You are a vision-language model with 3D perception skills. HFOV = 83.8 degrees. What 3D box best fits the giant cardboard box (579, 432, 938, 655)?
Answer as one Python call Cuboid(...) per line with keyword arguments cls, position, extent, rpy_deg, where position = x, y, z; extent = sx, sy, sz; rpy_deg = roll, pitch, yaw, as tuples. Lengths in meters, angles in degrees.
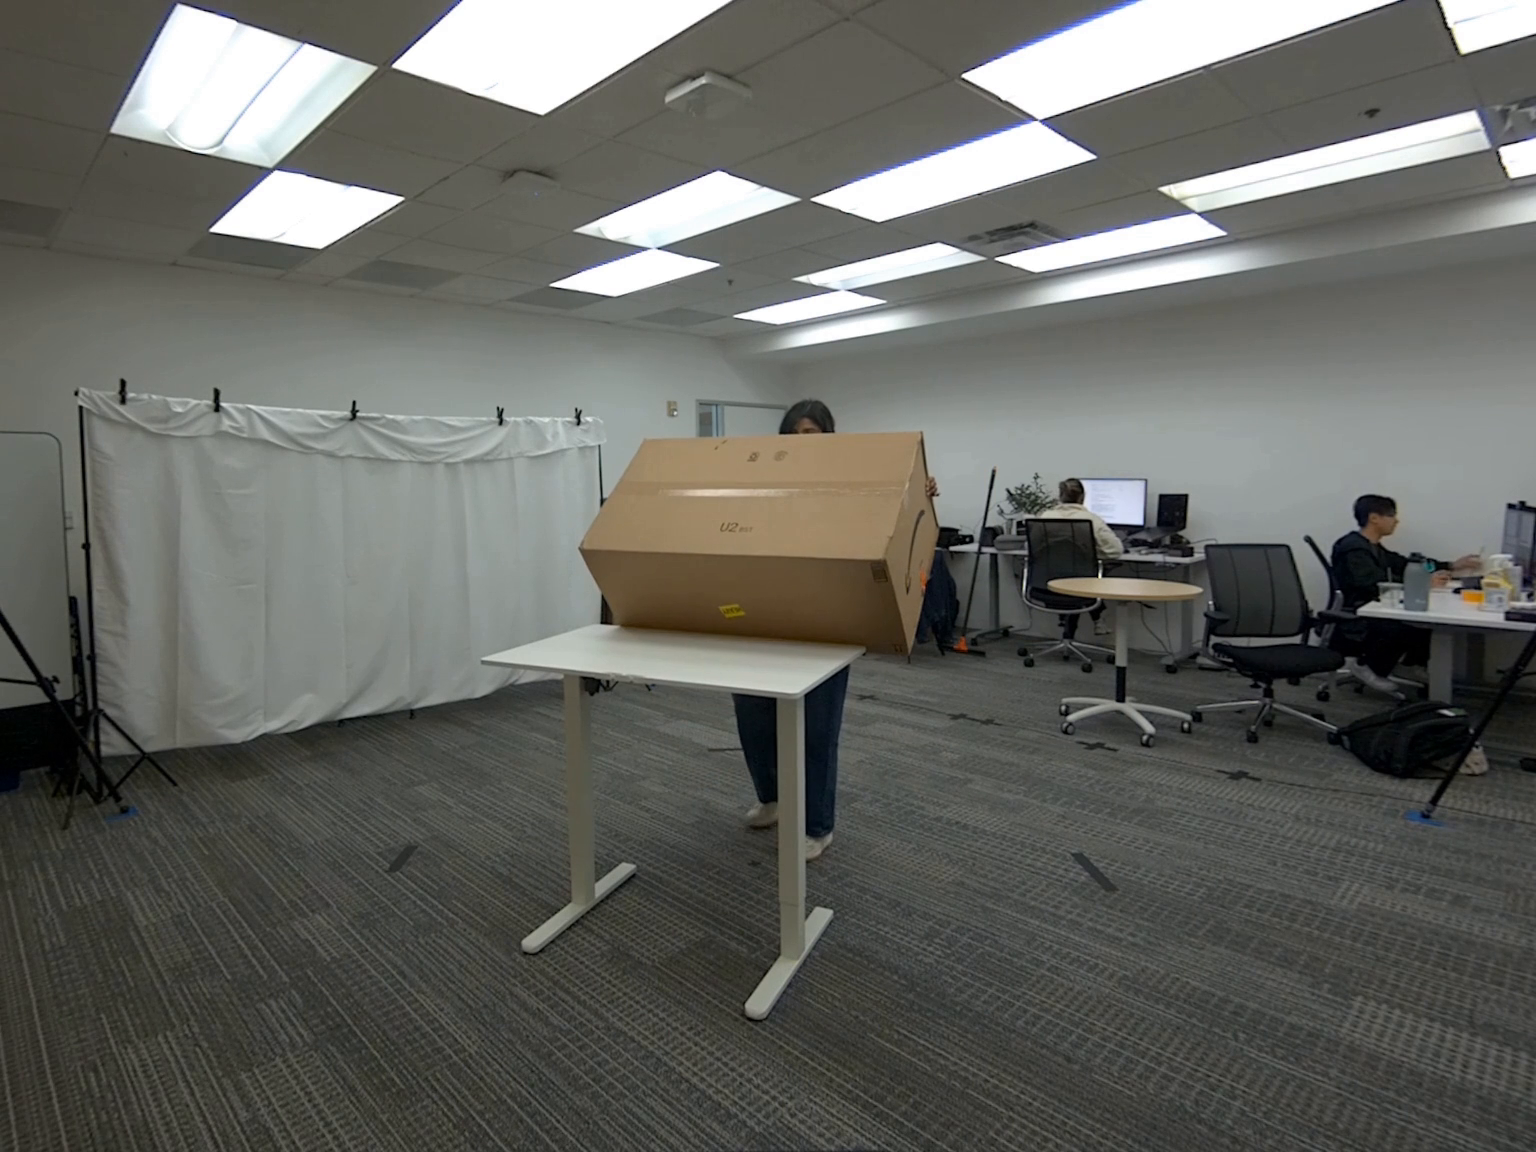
Cuboid(cls="giant cardboard box", position=(-0.015, -0.130, 2.858), extent=(1.050, 0.411, 0.585), rpy_deg=(2, 47, 25))
